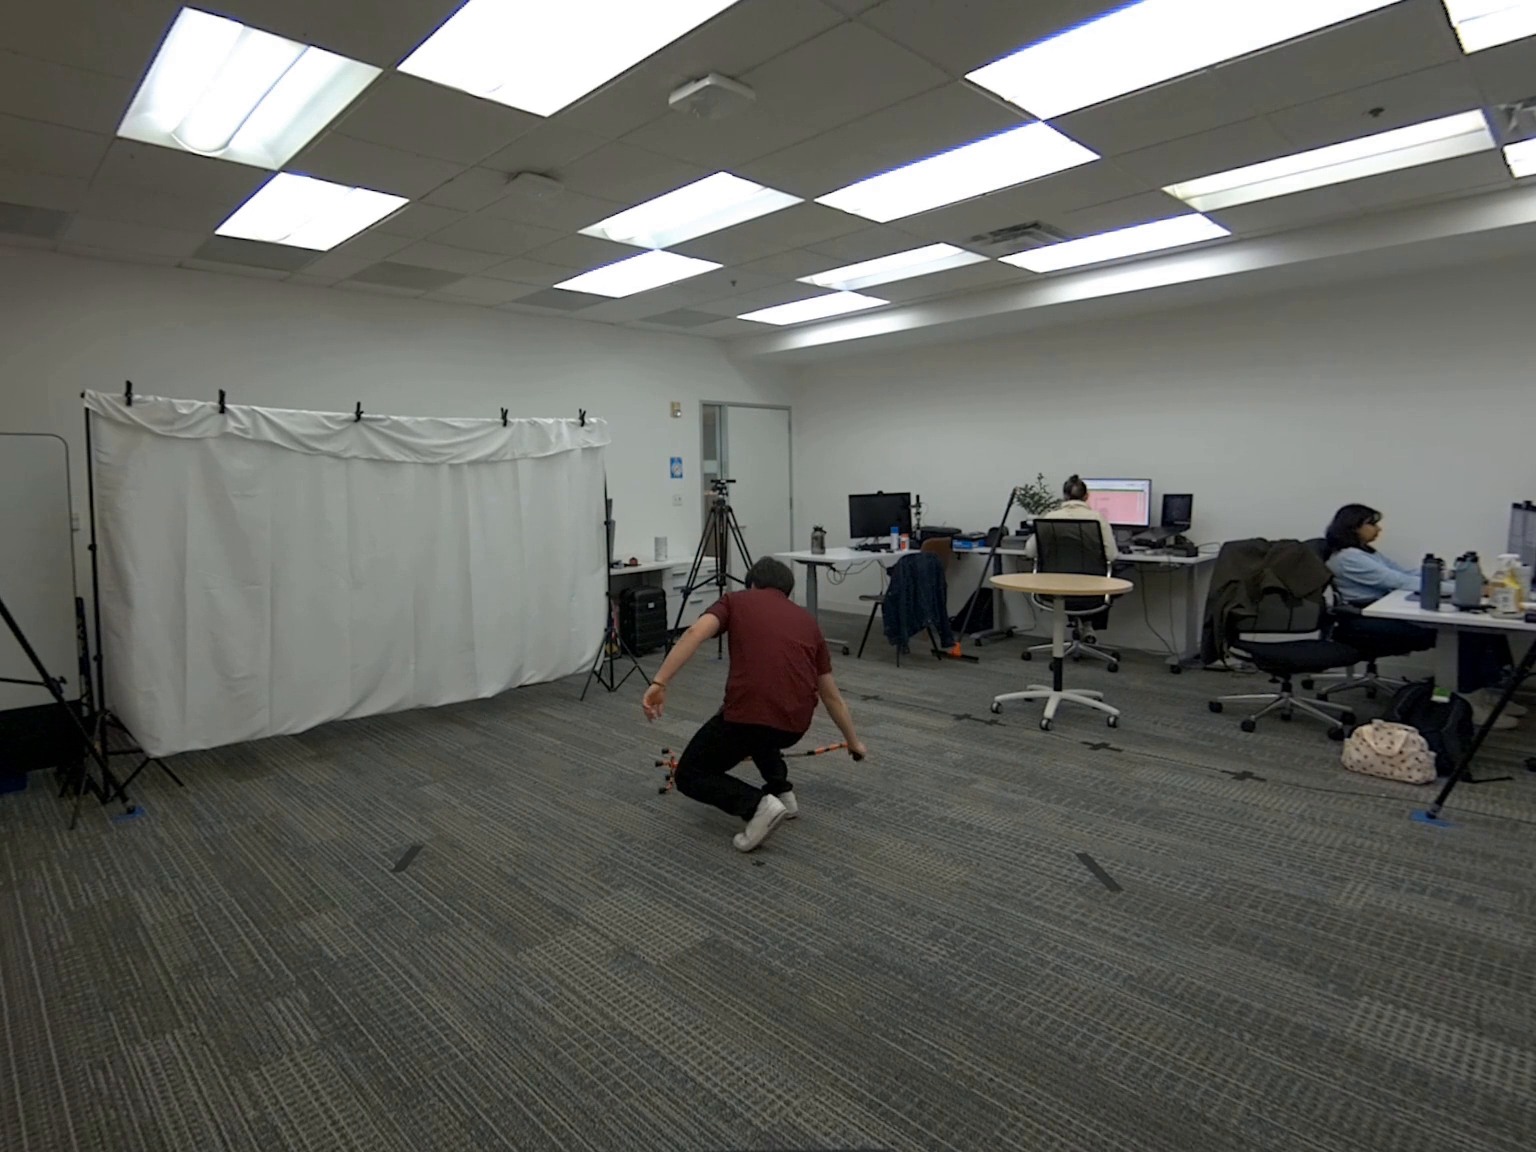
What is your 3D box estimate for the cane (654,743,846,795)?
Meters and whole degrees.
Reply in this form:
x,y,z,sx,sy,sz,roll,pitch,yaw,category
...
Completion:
x,y,z,sx,sy,sz,roll,pitch,yaw,category
-0.045,0.833,3.884,0.912,0.151,0.206,-7,4,4,cane
